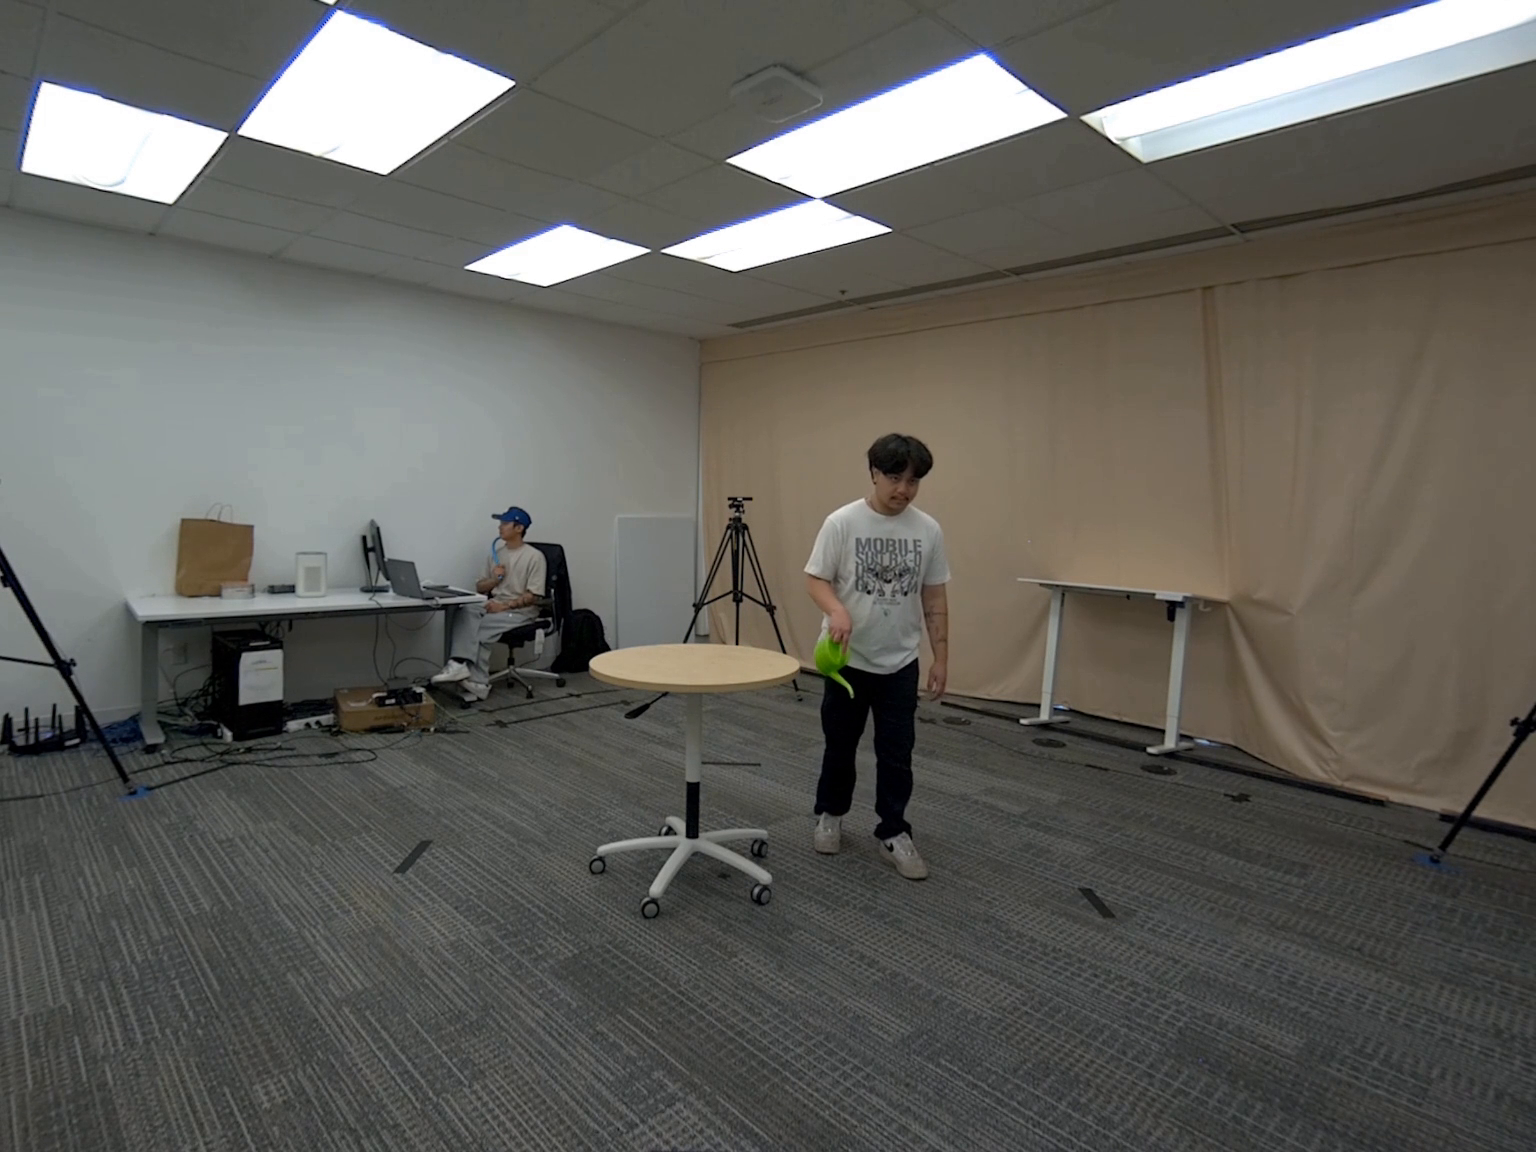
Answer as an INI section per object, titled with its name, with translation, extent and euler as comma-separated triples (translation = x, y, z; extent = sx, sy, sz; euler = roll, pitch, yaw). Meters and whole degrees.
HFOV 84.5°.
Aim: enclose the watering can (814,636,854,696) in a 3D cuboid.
[watering can]
translation = 0.235, 0.316, 3.049
extent = 0.097, 0.283, 0.175
euler = 9, -27, -12
